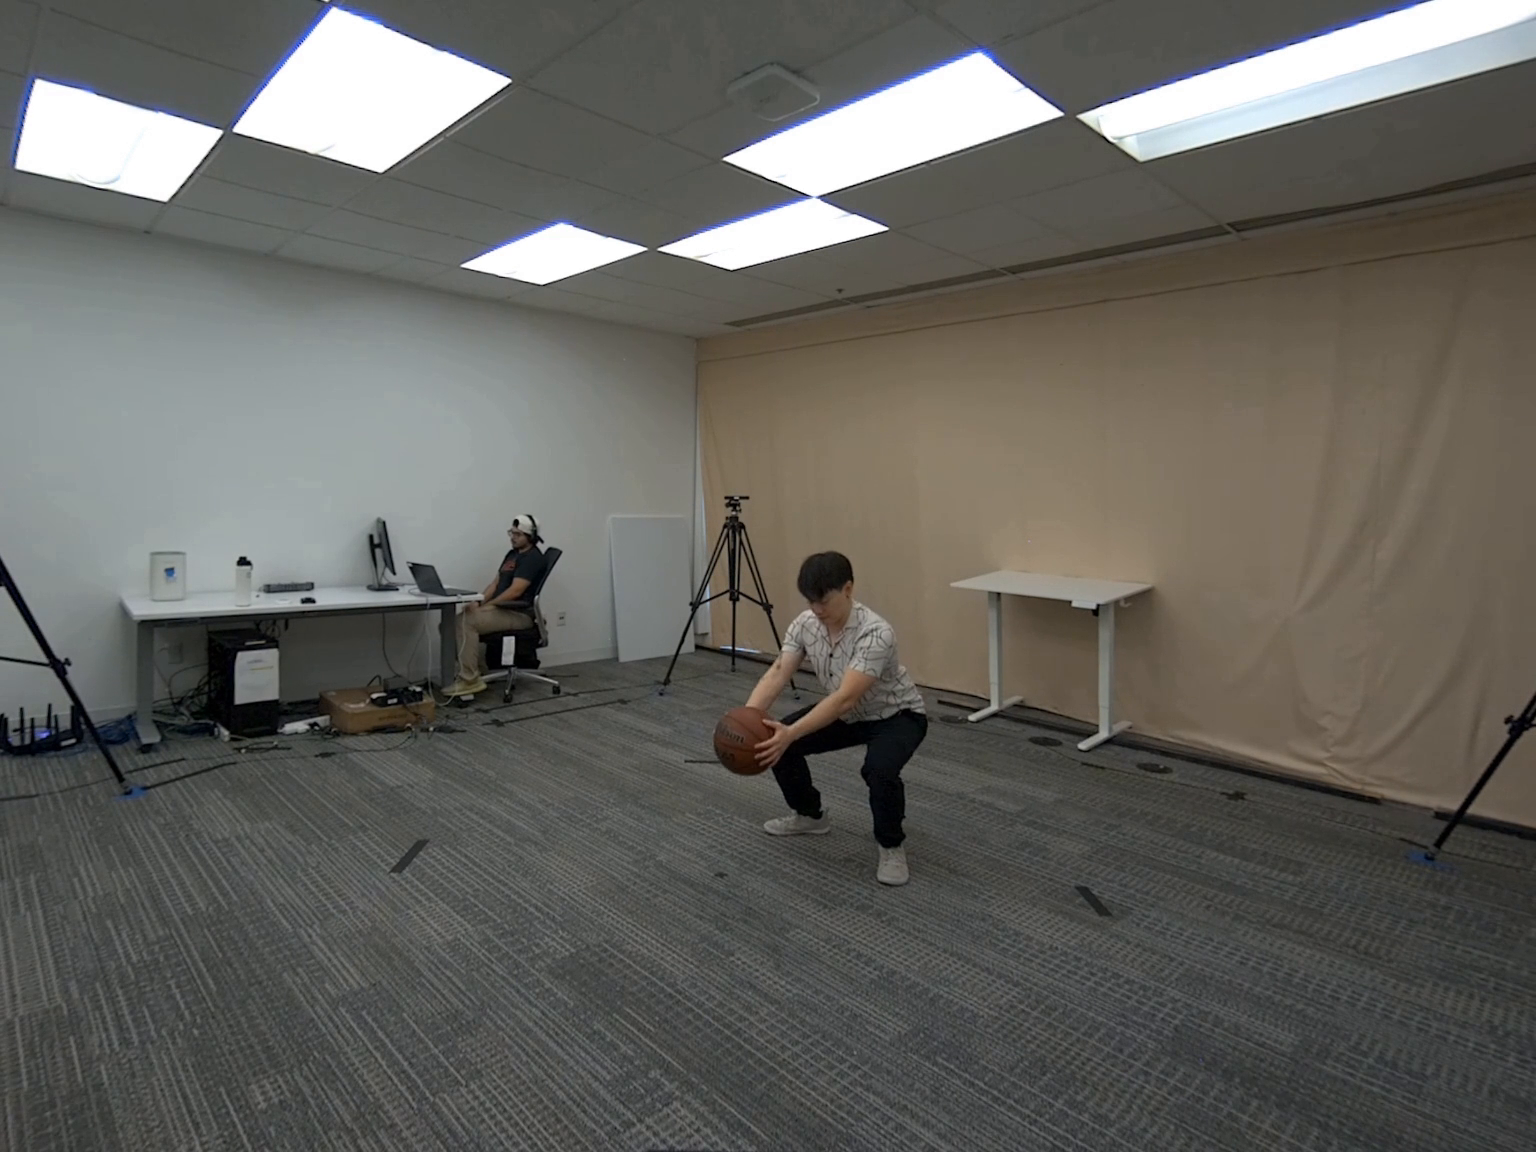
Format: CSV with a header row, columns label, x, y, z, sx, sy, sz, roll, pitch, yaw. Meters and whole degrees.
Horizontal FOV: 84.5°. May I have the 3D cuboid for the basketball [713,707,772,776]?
label,x,y,z,sx,sy,sz,roll,pitch,yaw
basketball,-0.081,0.579,2.956,0.236,0.235,0.237,1,4,-1
